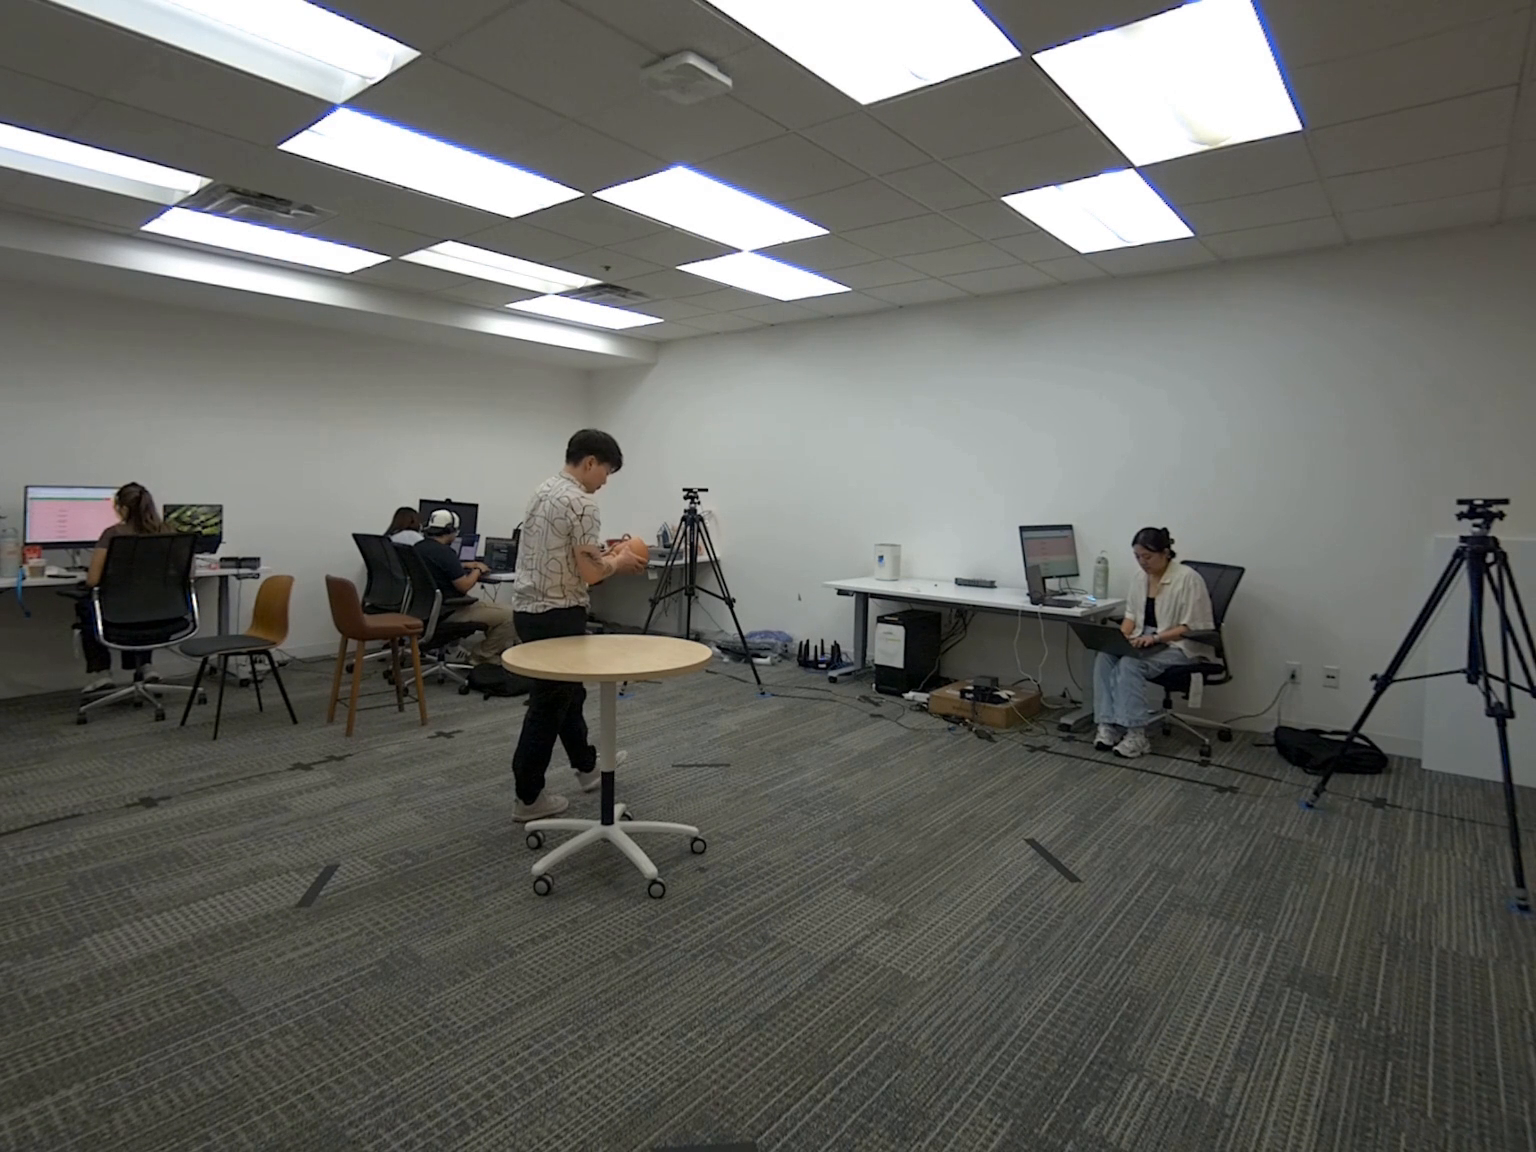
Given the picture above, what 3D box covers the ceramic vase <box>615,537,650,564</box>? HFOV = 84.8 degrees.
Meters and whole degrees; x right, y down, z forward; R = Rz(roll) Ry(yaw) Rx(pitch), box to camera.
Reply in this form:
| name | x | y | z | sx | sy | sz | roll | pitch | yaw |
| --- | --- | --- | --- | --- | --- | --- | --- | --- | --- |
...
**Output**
| name | x | y | z | sx | sy | sz | roll | pitch | yaw |
| --- | --- | --- | --- | --- | --- | --- | --- | --- | --- |
| ceramic vase | -0.668 | -0.073 | 3.775 | 0.217 | 0.164 | 0.132 | -27 | -25 | -28 |
